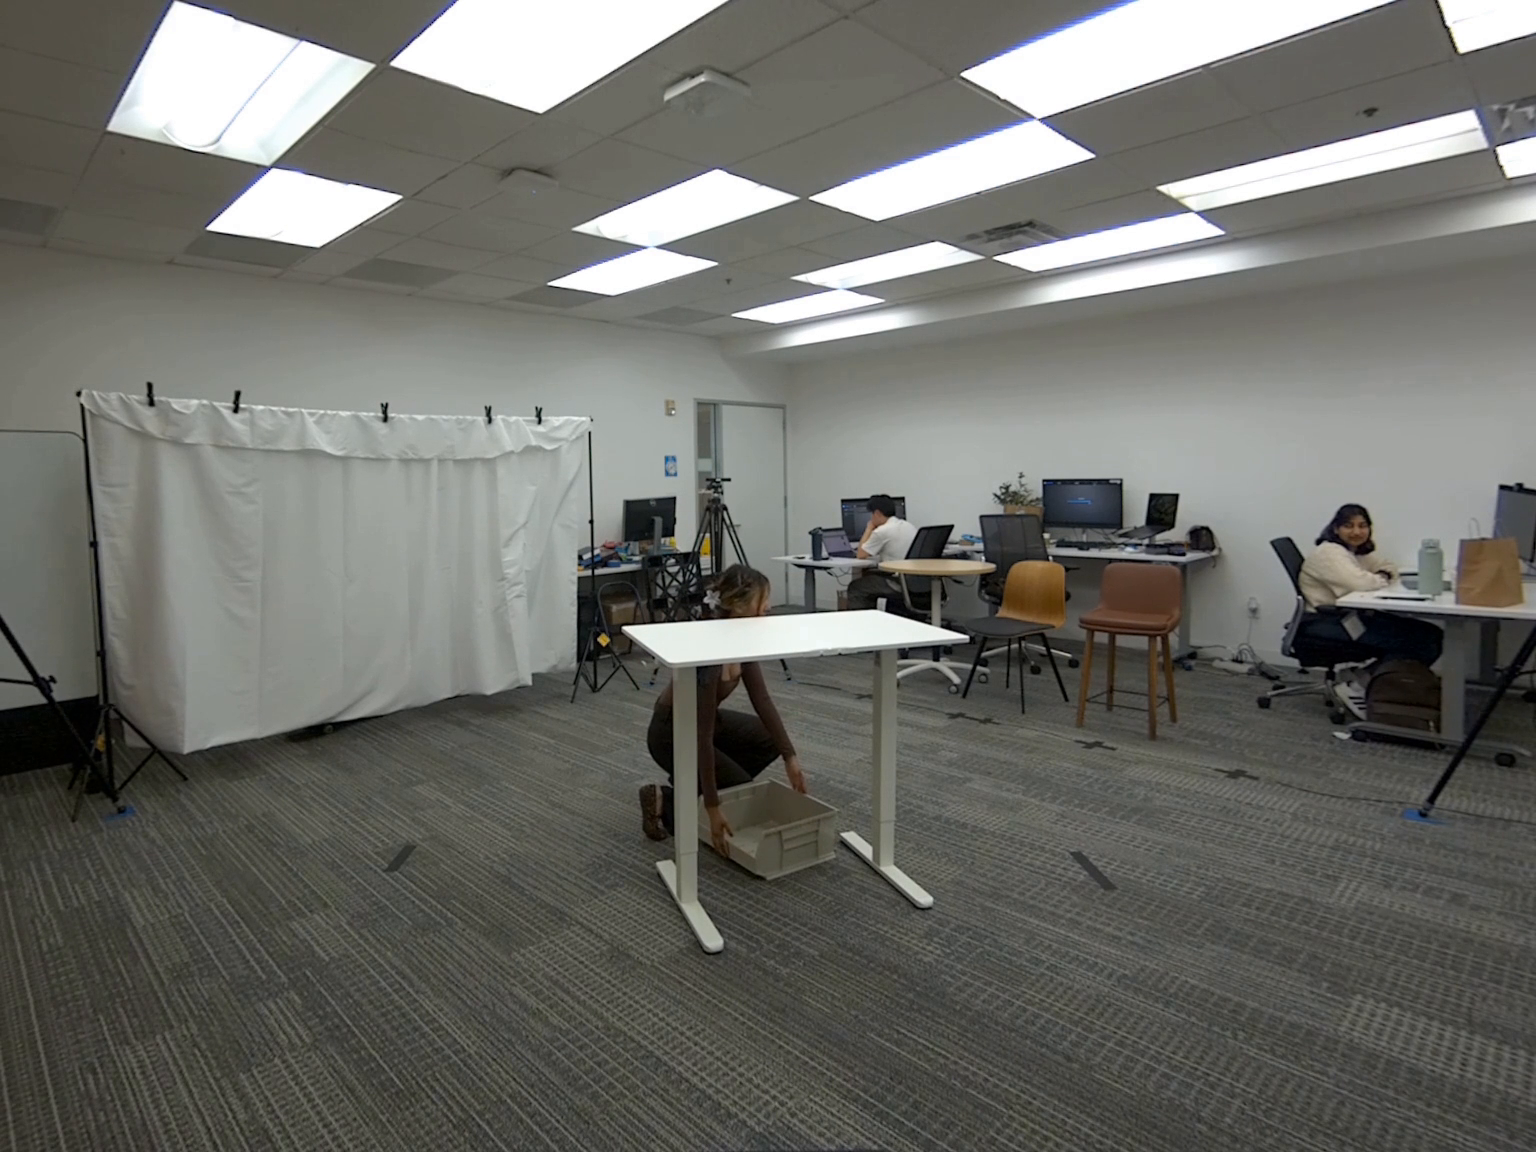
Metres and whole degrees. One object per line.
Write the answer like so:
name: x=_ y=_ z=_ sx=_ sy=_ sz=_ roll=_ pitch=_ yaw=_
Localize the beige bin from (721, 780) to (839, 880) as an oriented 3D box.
beige bin: x=-0.015 y=0.945 z=3.202 sx=0.367 sy=0.188 sz=0.435 roll=-3 pitch=5 yaw=-36
